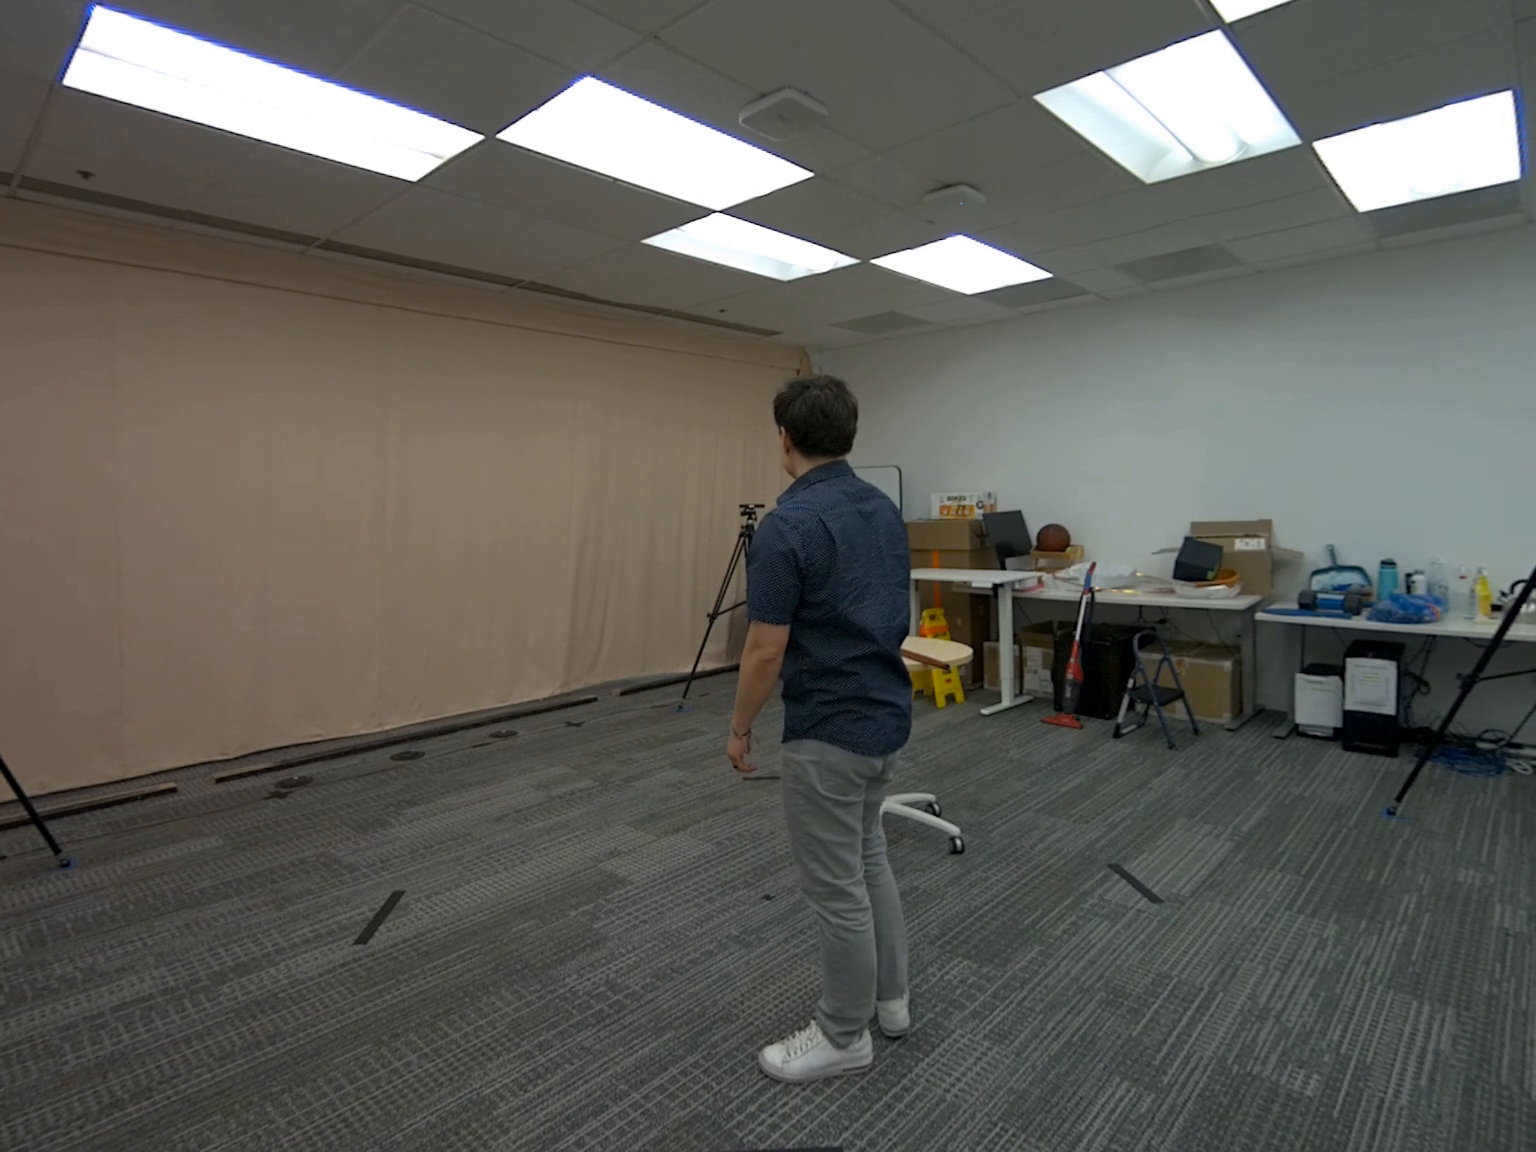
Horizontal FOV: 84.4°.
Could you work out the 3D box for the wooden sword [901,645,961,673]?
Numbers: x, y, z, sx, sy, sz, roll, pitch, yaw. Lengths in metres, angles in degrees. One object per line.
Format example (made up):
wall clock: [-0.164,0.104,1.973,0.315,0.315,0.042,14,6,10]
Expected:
wooden sword: [0.488,0.286,3.450,0.050,0.024,1.043,-16,8,-16]
